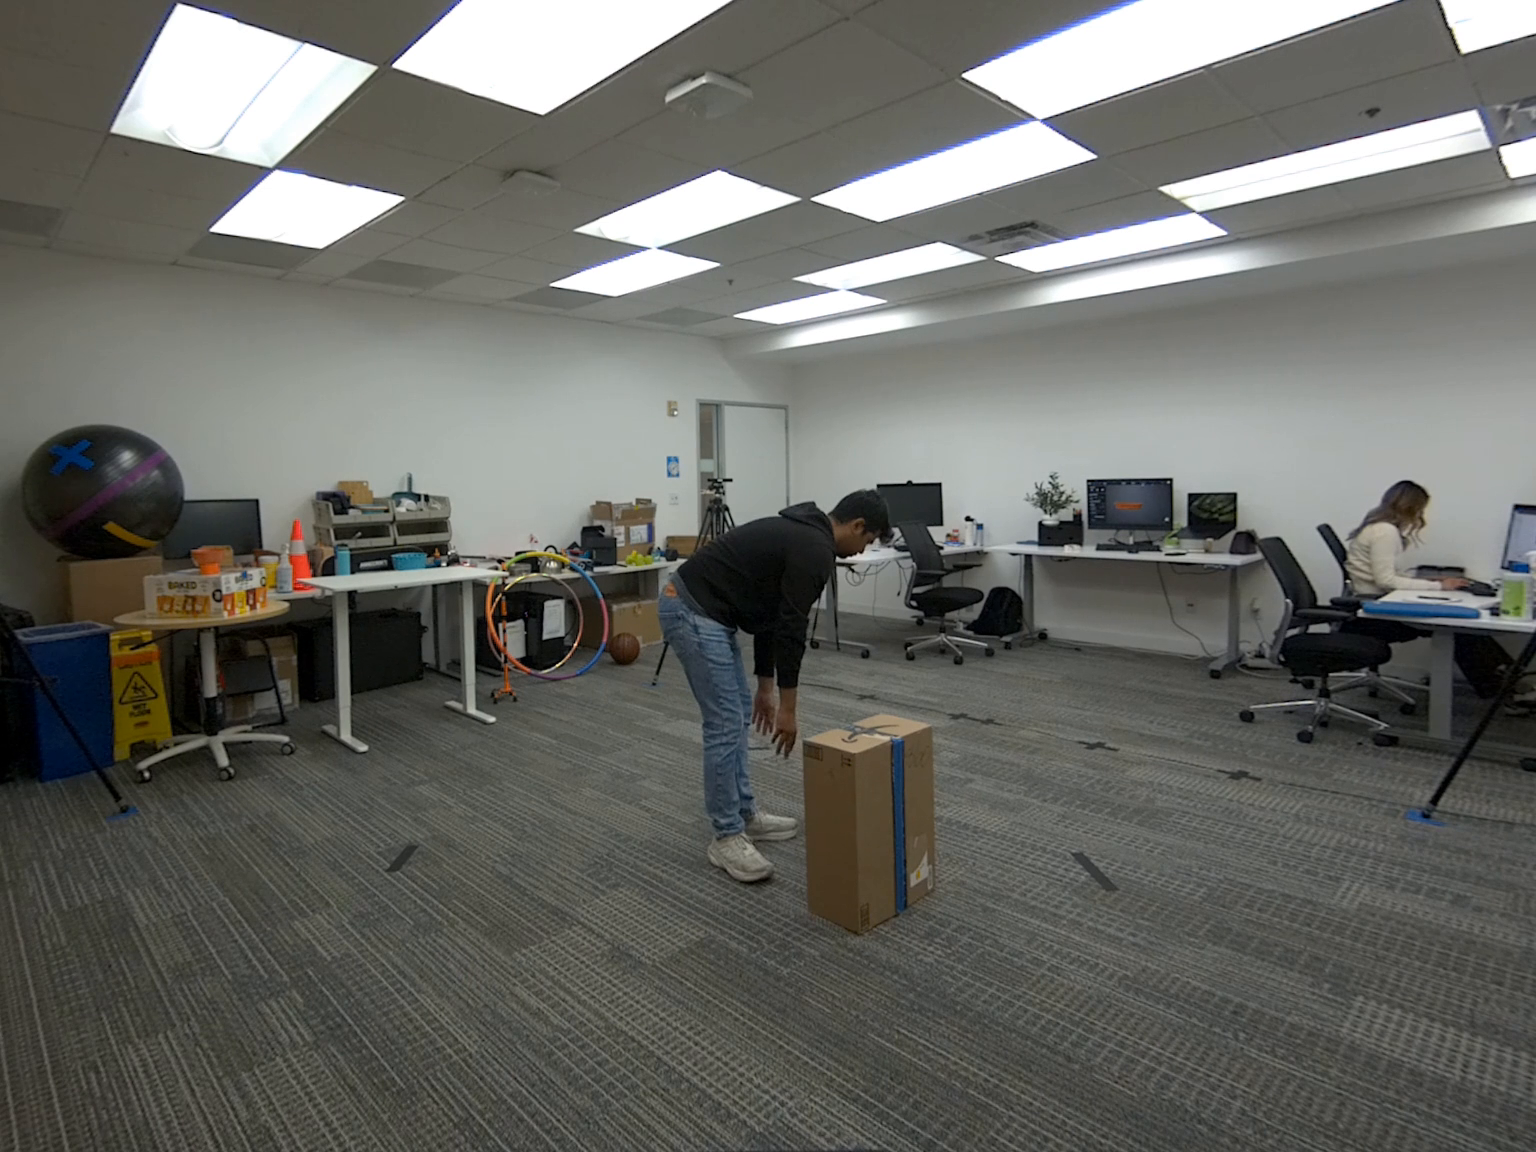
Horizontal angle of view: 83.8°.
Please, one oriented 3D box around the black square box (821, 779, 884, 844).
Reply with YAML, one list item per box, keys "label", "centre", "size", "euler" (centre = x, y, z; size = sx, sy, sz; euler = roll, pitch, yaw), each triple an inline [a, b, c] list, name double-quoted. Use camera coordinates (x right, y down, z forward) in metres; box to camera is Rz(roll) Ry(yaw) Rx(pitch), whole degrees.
- label: "black square box"
  centre: [0.334, 0.923, 3.382]
  size: [0.220, 0.155, 0.225]
  euler: [0, 5, 14]
